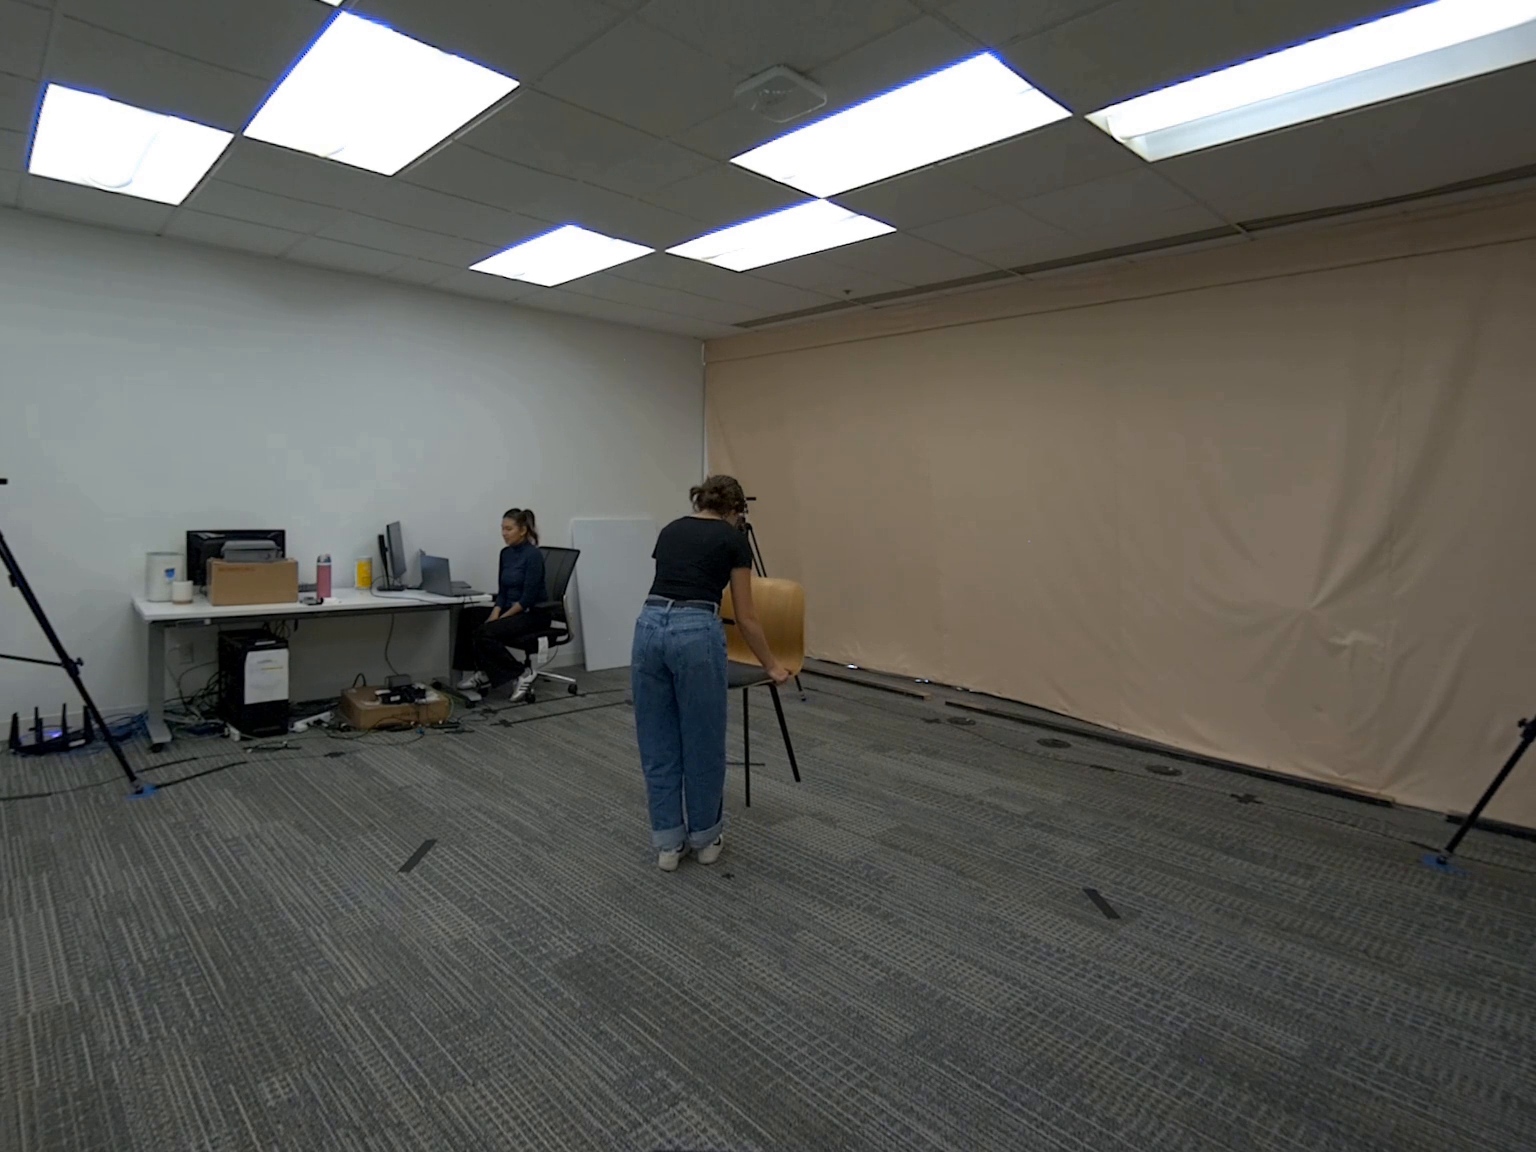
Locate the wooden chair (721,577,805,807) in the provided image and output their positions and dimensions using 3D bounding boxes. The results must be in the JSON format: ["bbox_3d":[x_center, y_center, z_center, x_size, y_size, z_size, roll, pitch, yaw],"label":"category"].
[{"bbox_3d":[-0.139,0.435,3.465,0.488,0.879,0.511,4,-3,29],"label":"wooden chair"}]
